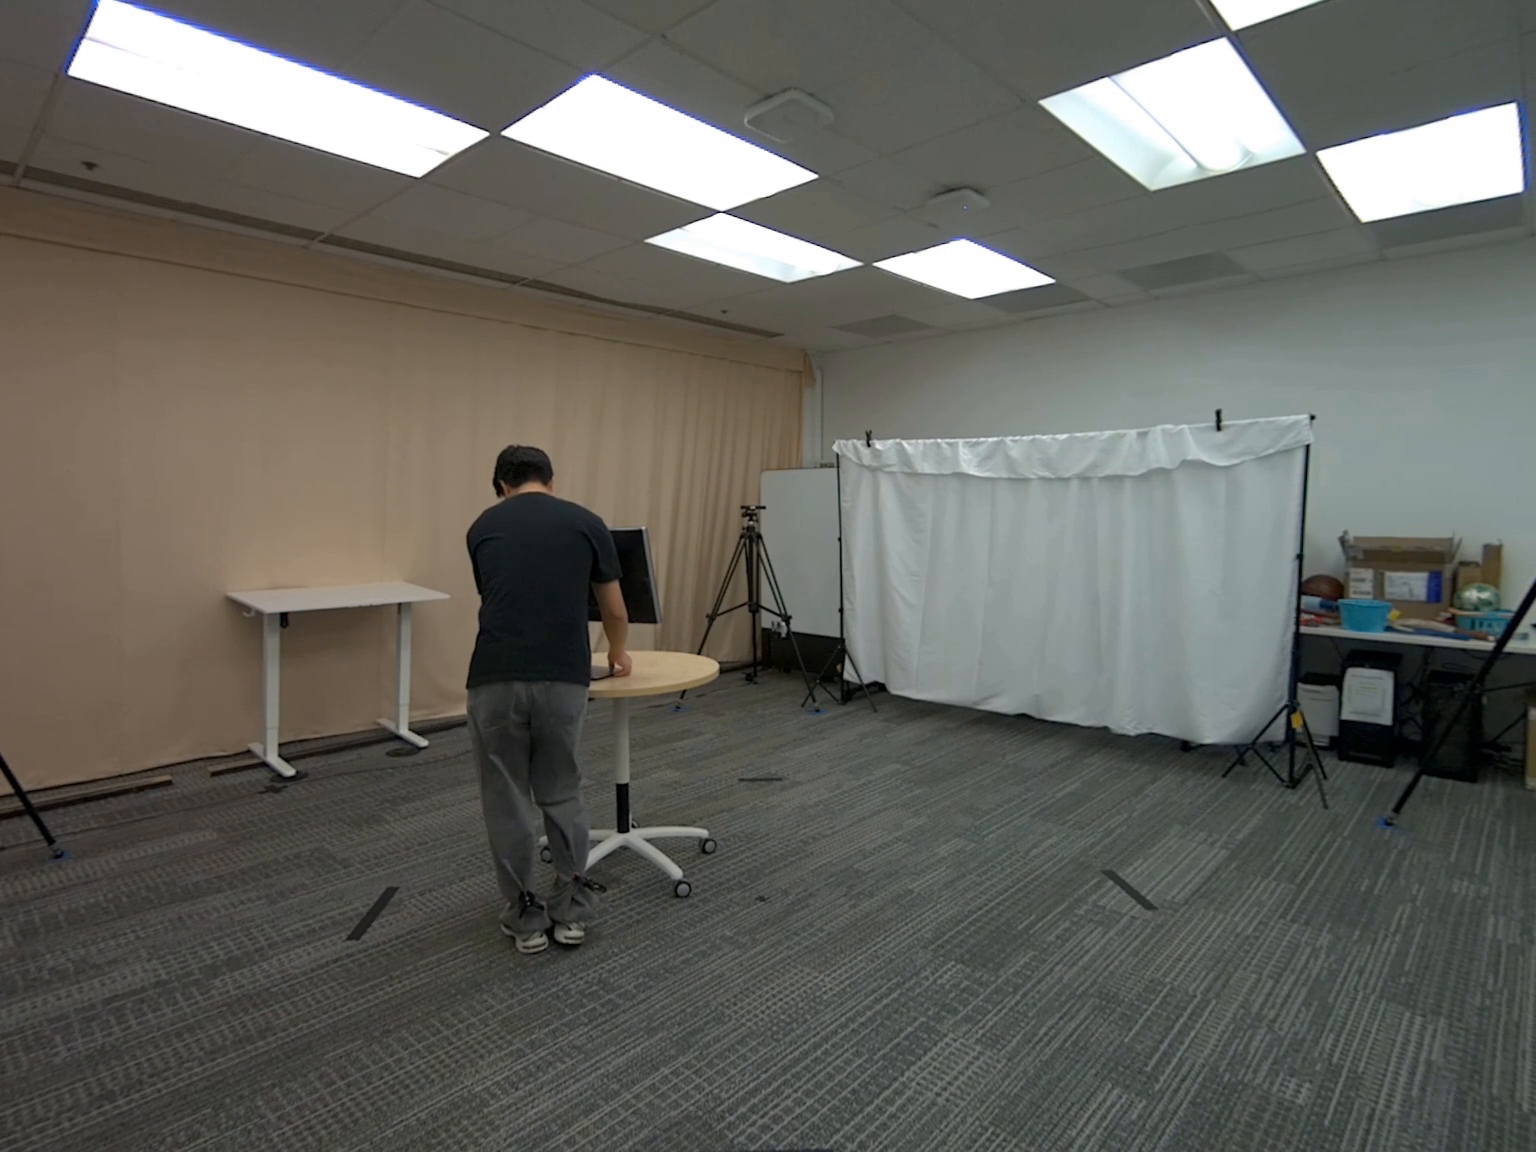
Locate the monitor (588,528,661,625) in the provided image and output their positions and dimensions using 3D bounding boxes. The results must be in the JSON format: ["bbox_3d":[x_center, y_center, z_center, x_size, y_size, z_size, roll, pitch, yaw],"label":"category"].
[{"bbox_3d":[-0.680,0.101,3.122,0.578,0.566,0.216,1,1,30],"label":"monitor"}]
